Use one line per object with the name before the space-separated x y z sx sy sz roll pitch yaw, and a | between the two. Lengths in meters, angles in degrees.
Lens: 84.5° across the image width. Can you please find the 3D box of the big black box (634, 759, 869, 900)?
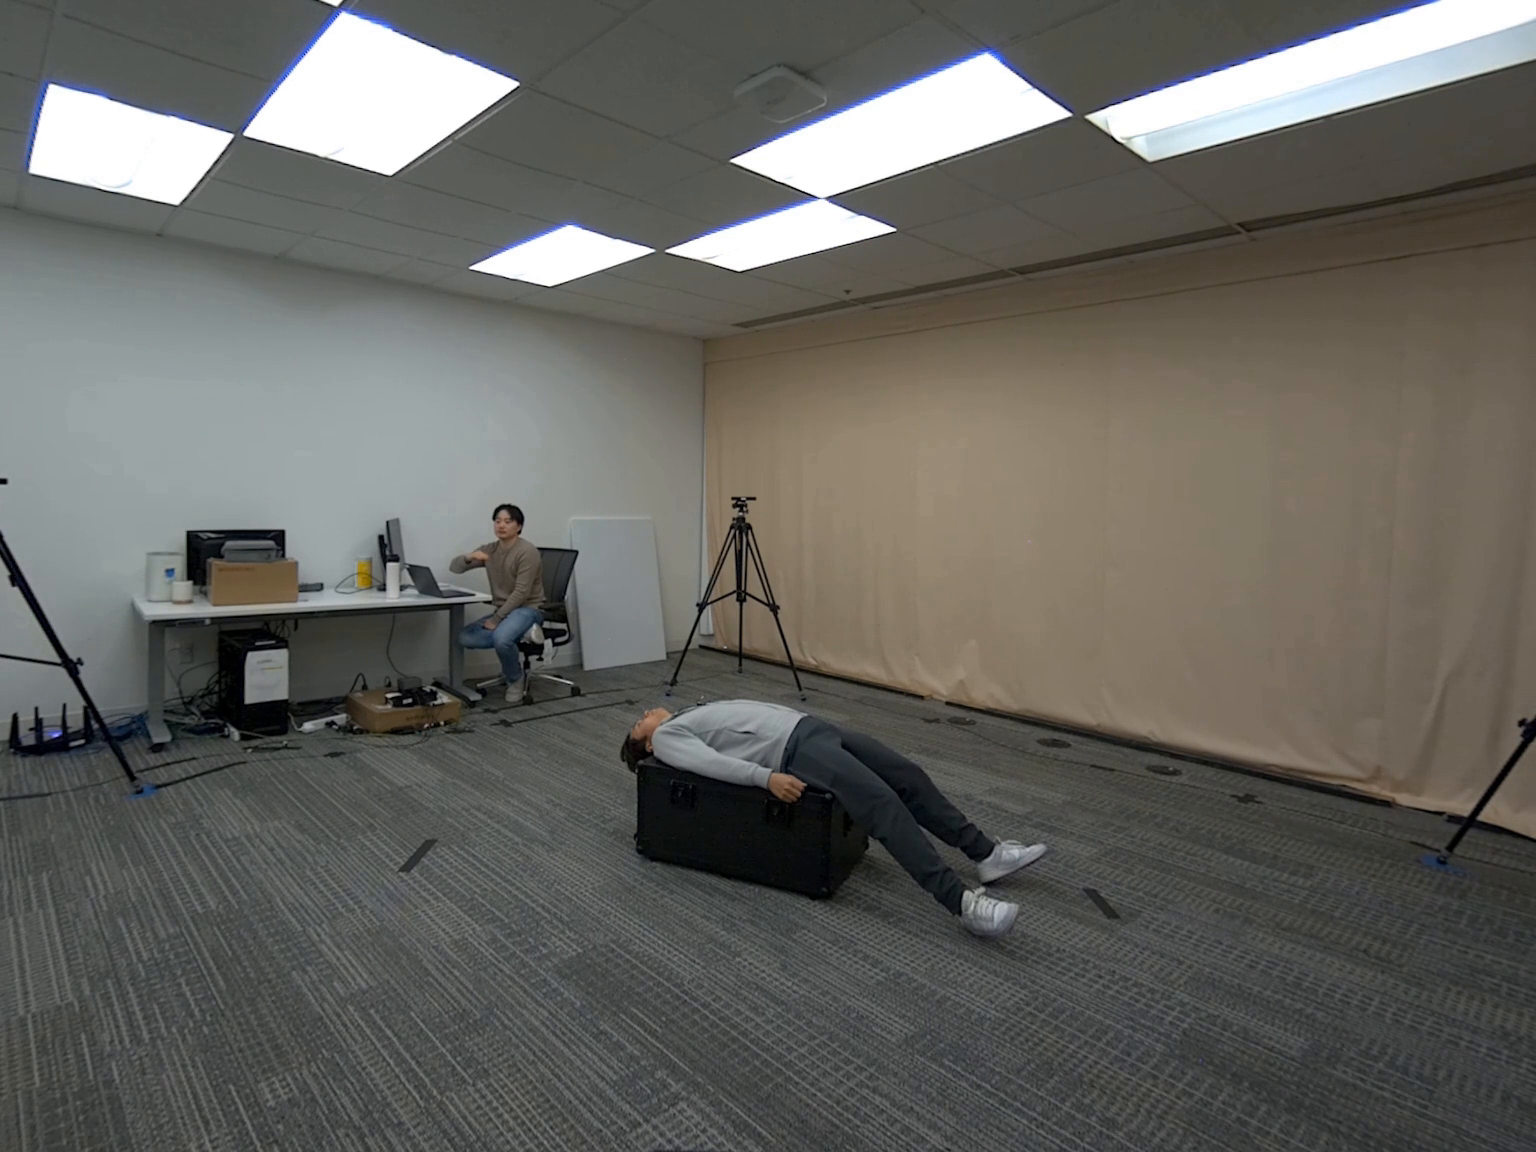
big black box | -0.031 0.911 3.250 0.878 0.395 0.513 3 5 26
